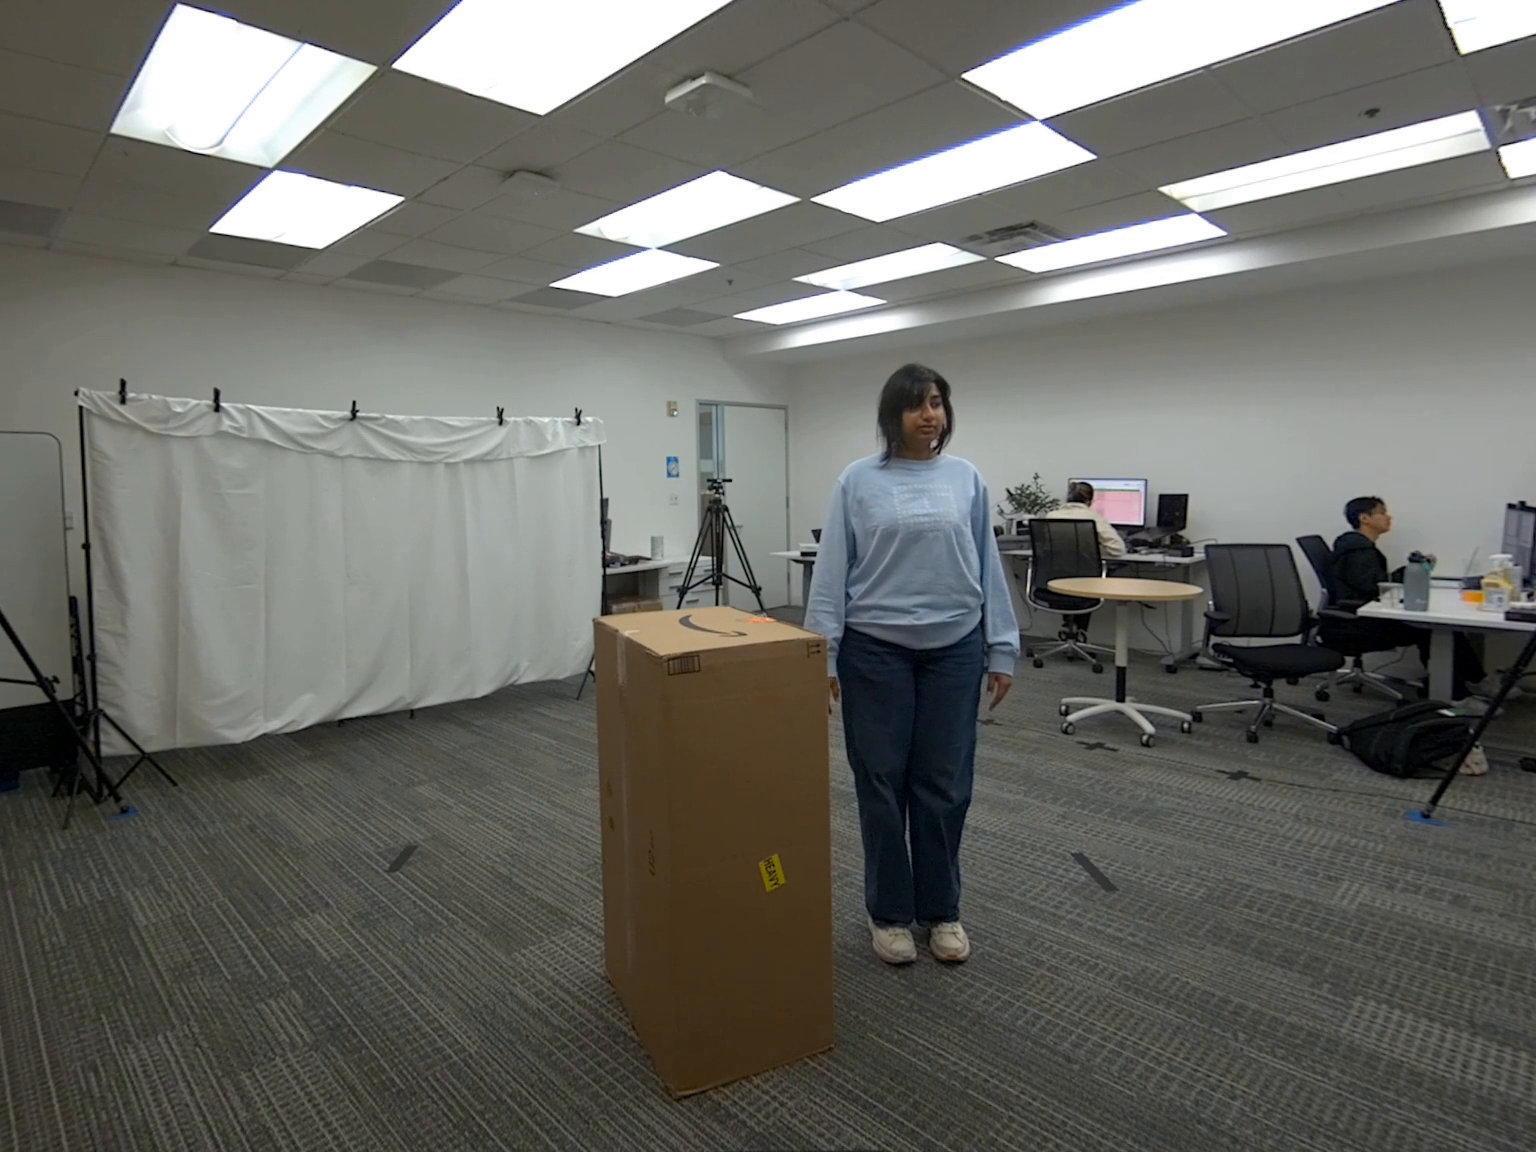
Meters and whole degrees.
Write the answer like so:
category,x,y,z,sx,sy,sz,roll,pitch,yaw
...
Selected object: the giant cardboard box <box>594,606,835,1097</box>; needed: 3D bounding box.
category,x,y,z,sx,sy,sz,roll,pitch,yaw
giant cardboard box,-0.154,0.638,2.239,0.417,1.022,0.592,-3,4,-26
